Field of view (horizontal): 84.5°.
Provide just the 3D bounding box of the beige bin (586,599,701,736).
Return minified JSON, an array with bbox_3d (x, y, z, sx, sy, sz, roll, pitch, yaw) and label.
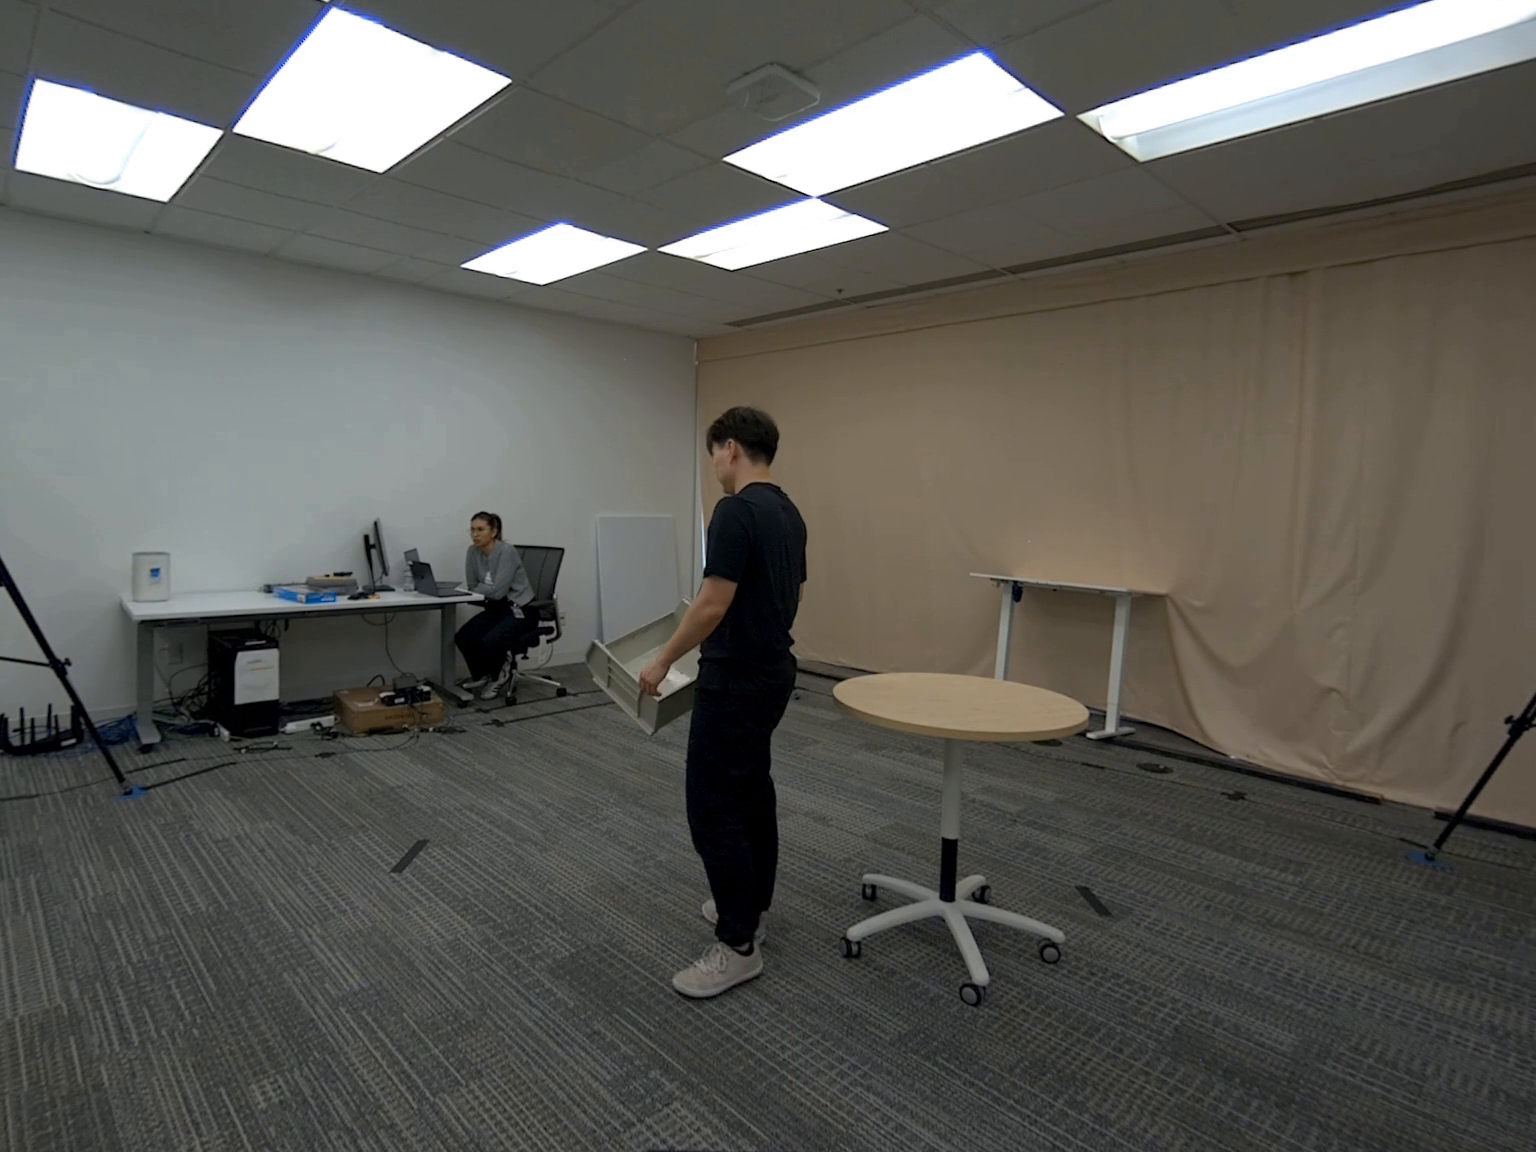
[{"bbox_3d":[-0.354,0.291,2.904,0.388,0.186,0.417,36,42,29],"label":"beige bin"}]
